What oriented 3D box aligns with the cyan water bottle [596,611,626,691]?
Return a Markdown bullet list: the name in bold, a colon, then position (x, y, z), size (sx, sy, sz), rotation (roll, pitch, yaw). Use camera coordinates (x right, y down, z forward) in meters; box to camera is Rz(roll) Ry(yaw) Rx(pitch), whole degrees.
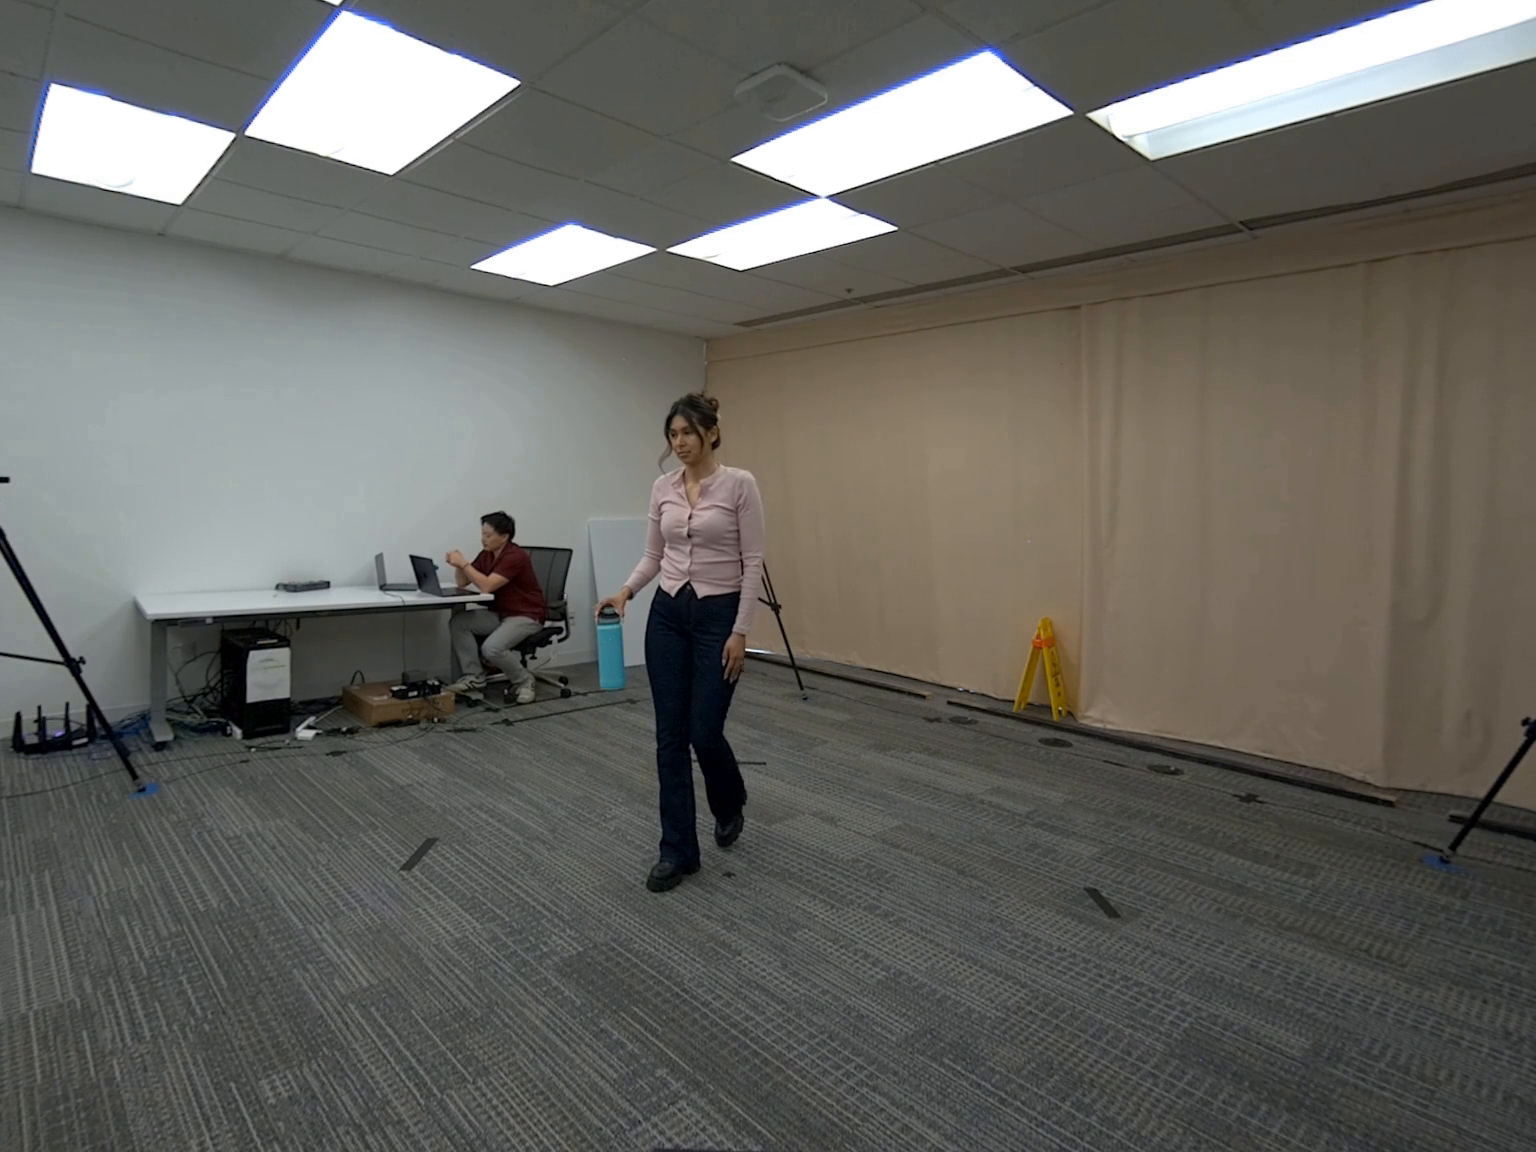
- **cyan water bottle**: position (-0.560, 0.257, 2.981), size (0.092, 0.283, 0.092), rotation (-2, 2, -1)
